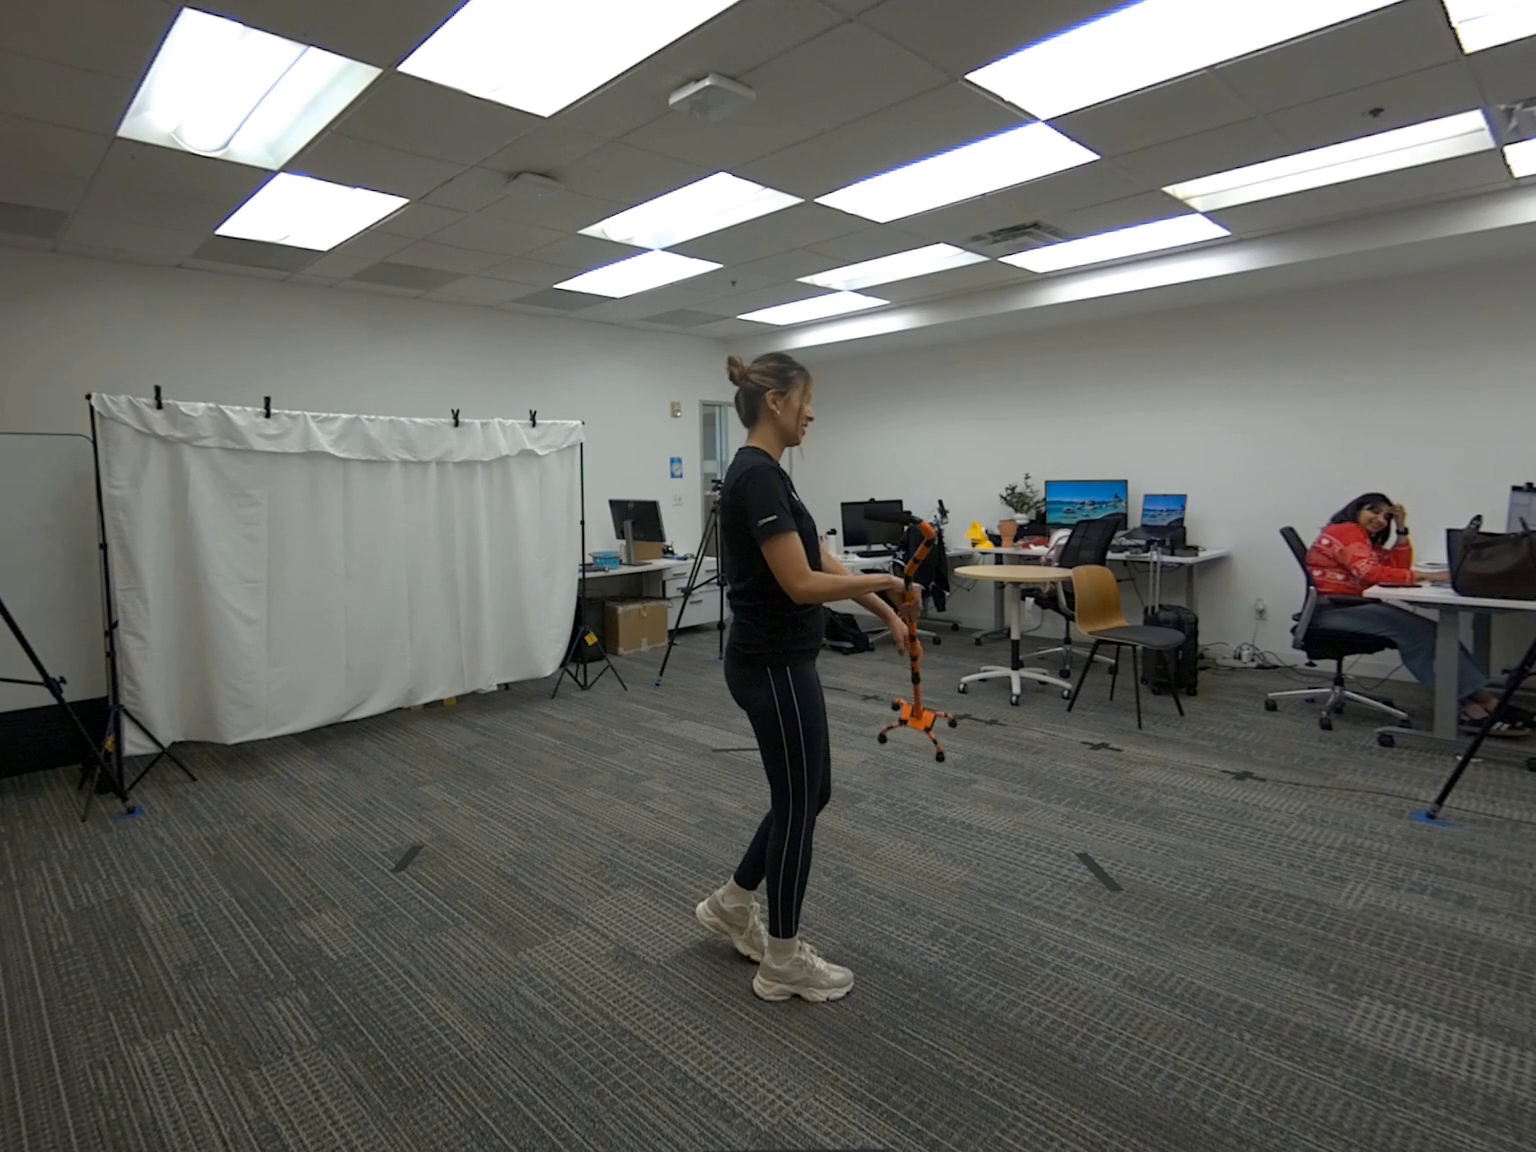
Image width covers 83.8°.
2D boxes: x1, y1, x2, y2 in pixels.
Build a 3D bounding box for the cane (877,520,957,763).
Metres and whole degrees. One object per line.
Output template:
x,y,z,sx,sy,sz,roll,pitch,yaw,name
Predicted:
0.382,0.173,2.263,0.211,0.878,0.153,12,49,22,cane
